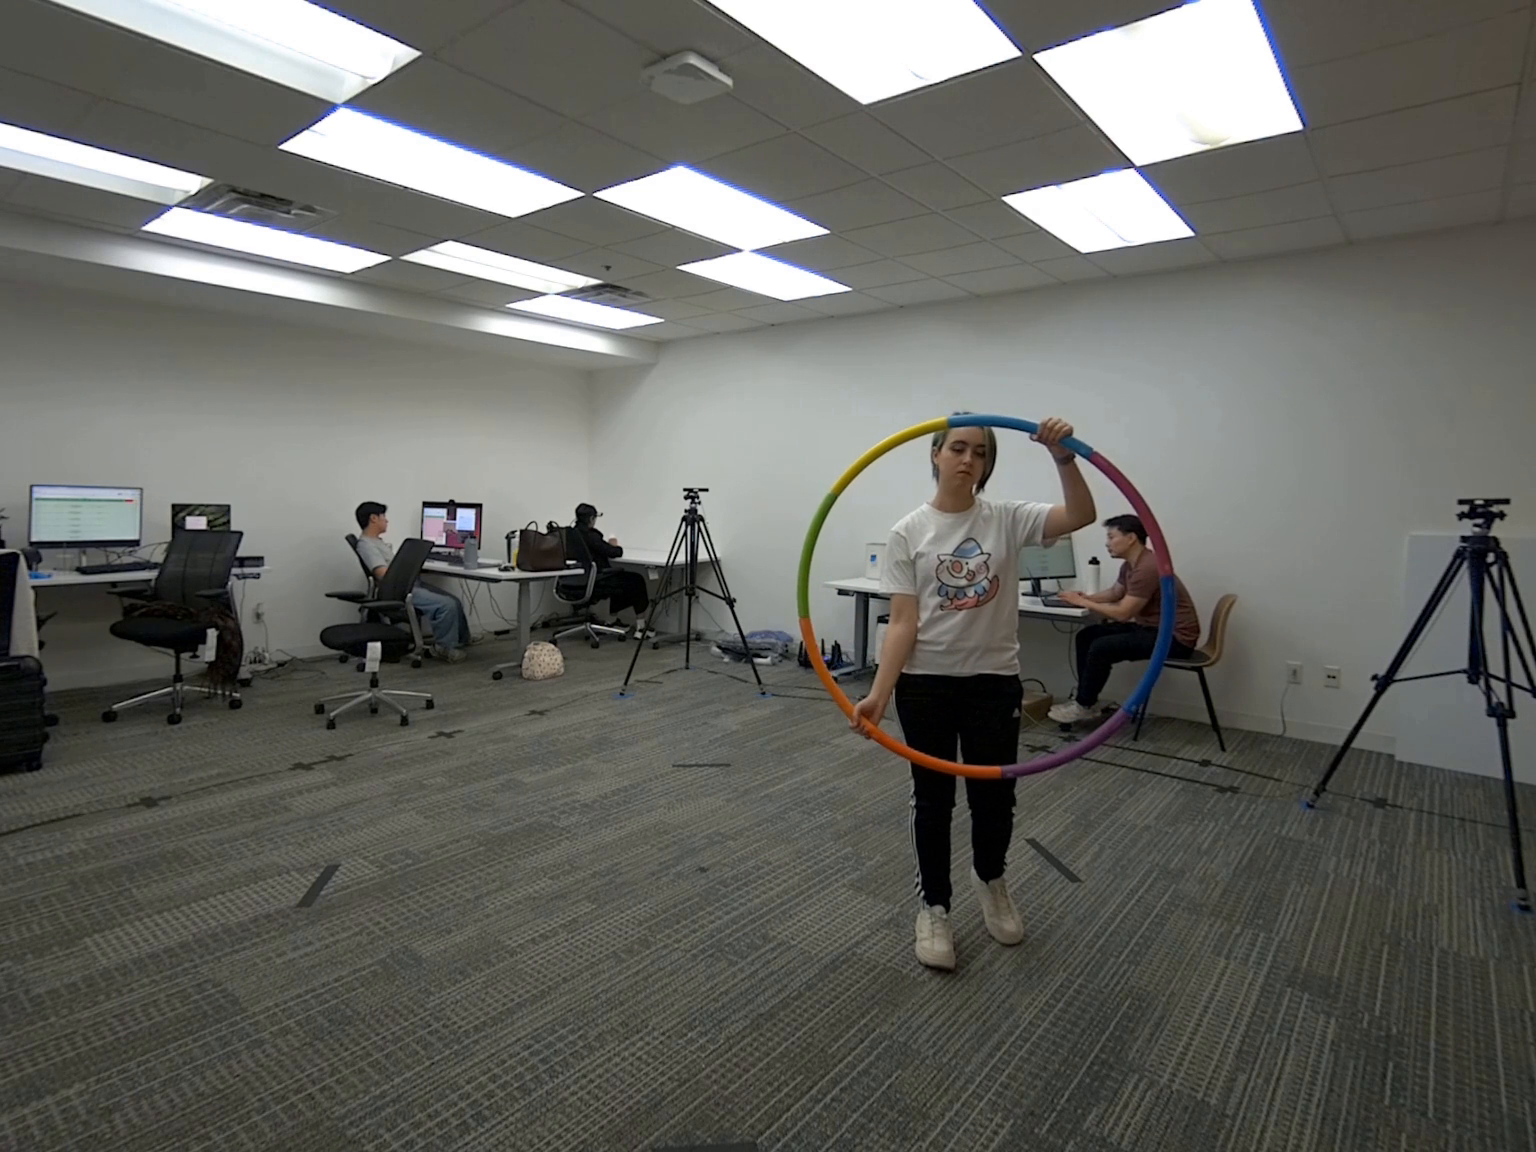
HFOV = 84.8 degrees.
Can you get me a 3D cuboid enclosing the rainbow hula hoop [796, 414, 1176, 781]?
[{"bbox_3d":[0.542,0.057,2.314,0.998,0.975,0.035,2,4,18],"label":"rainbow hula hoop"}]
